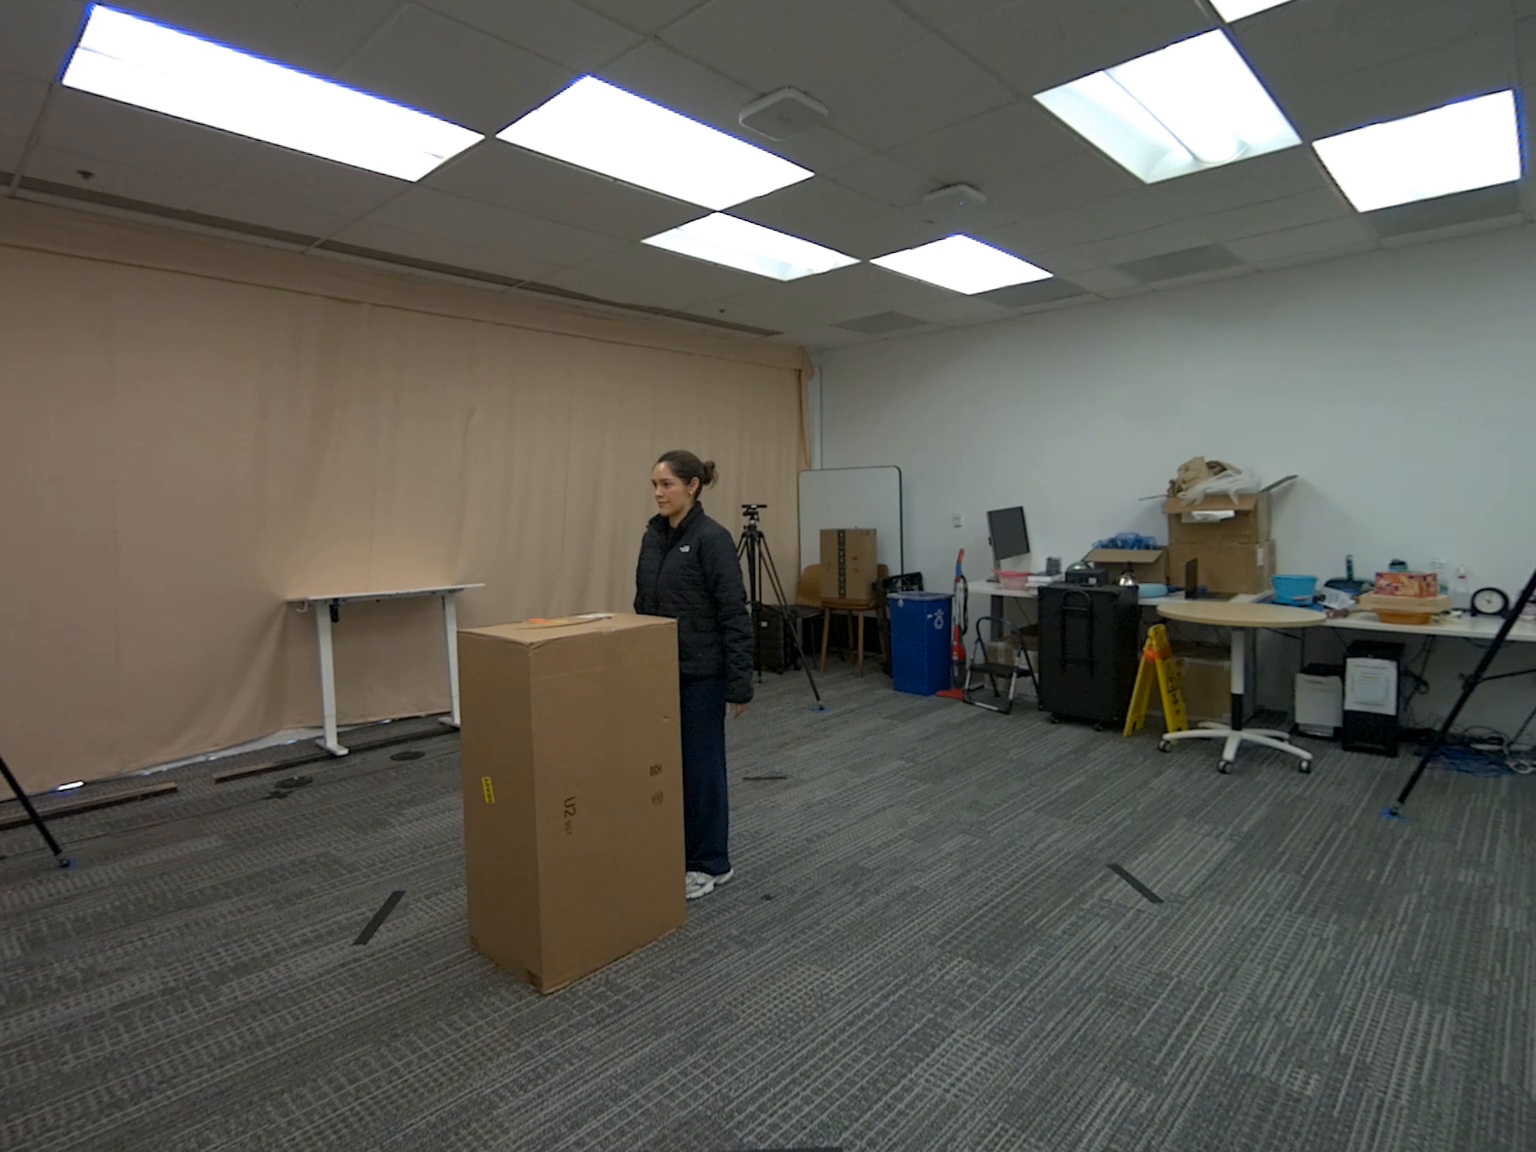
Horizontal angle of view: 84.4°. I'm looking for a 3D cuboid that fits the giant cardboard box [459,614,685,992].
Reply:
[{"bbox_3d":[-0.620,0.666,2.726,0.461,1.025,0.566,1,3,44],"label":"giant cardboard box"}]
